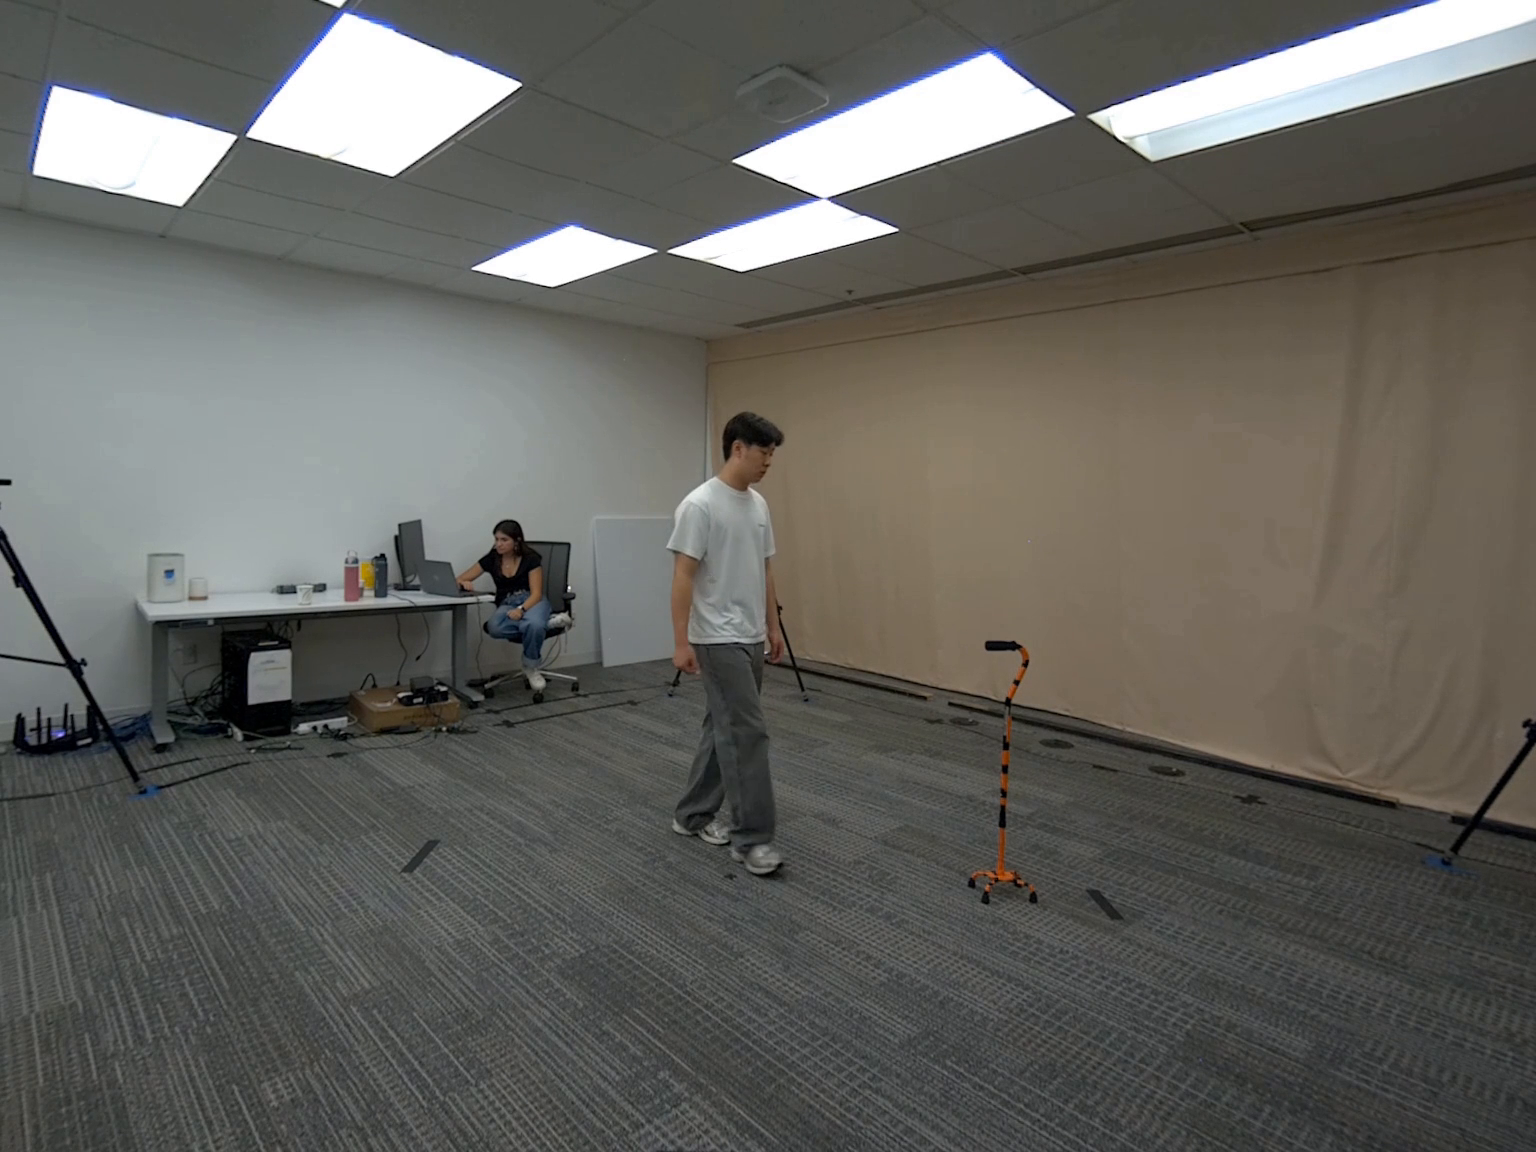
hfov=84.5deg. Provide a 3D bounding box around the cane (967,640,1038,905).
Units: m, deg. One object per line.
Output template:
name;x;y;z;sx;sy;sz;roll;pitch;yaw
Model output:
cane;0.846;0.690;2.997;0.205;0.906;0.153;2;2;-8
